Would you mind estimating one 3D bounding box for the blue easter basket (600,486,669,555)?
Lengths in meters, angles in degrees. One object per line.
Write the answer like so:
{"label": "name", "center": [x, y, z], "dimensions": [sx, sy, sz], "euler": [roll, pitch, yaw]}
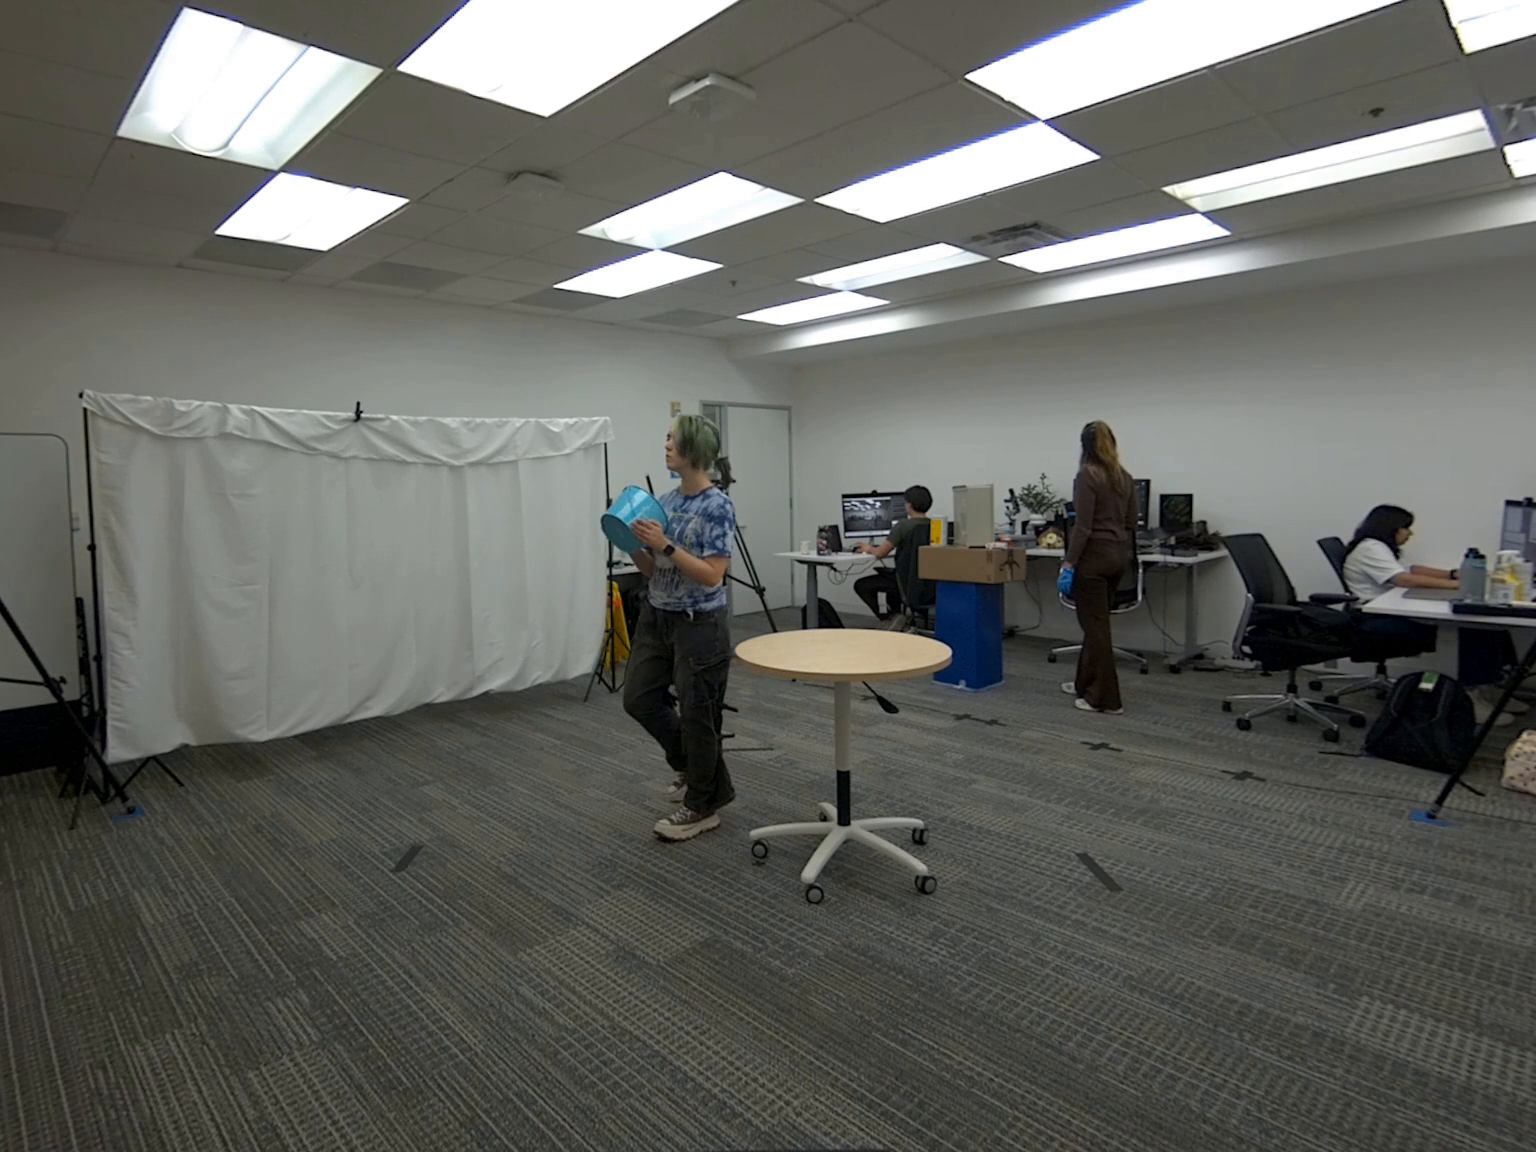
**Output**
{"label": "blue easter basket", "center": [-0.510, -0.203, 3.201], "dimensions": [0.251, 0.237, 0.155], "euler": [4, 40, 47]}
